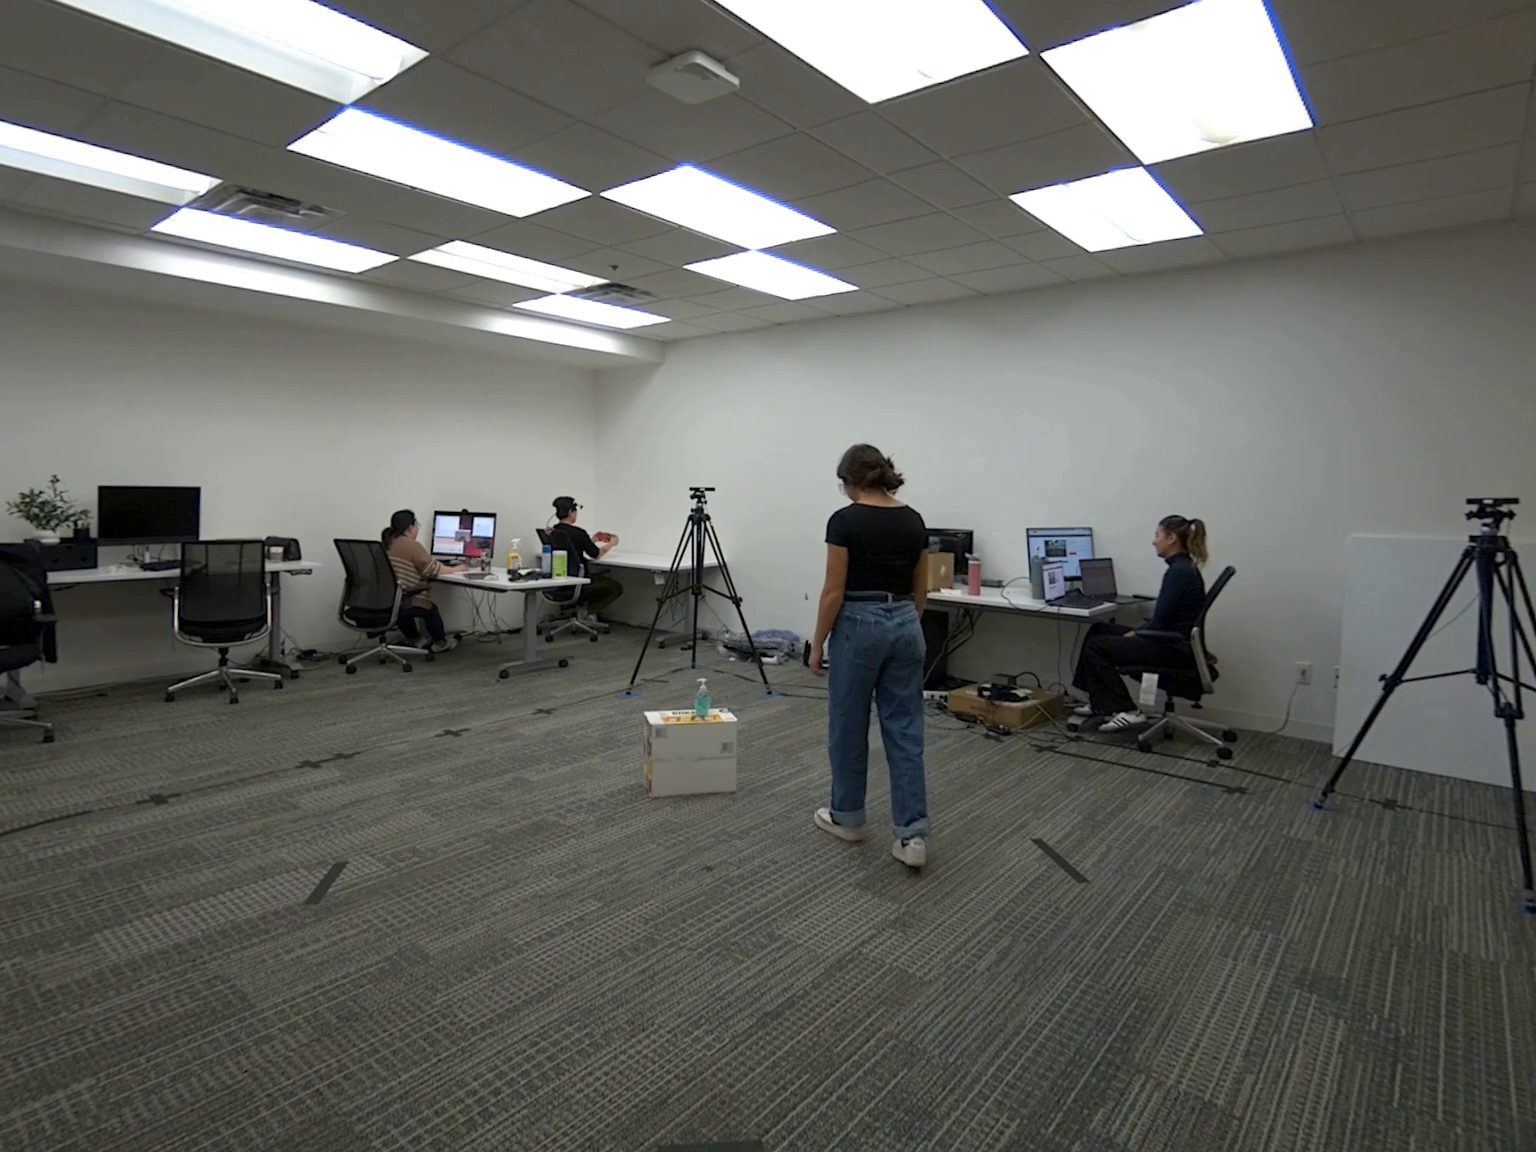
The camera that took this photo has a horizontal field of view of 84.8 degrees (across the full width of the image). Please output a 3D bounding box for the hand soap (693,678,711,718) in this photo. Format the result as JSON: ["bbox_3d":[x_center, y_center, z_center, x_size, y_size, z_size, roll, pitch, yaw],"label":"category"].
[{"bbox_3d":[-0.317,0.558,3.970,0.082,0.167,0.045,-1,6,-30],"label":"hand soap"}]
